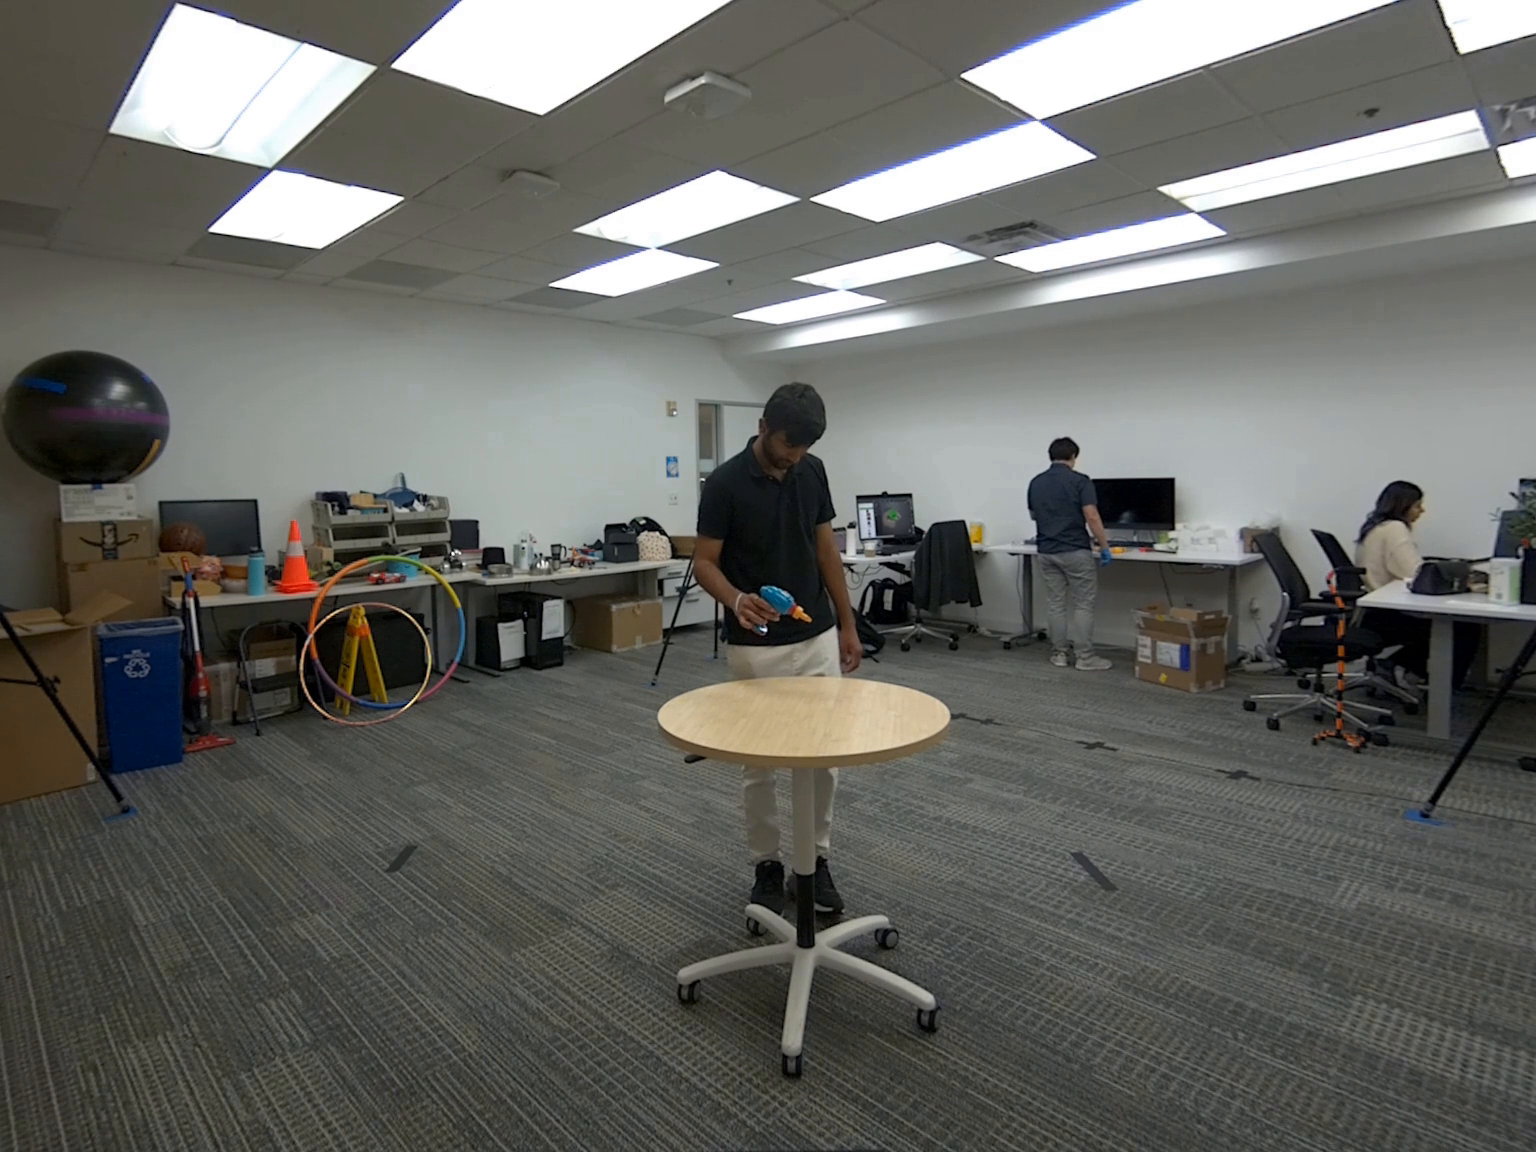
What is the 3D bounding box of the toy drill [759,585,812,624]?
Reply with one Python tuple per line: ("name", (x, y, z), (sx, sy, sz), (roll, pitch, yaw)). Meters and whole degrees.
("toy drill", (0.028, 0.115, 2.453), (0.170, 0.145, 0.061), (33, 22, 2))
